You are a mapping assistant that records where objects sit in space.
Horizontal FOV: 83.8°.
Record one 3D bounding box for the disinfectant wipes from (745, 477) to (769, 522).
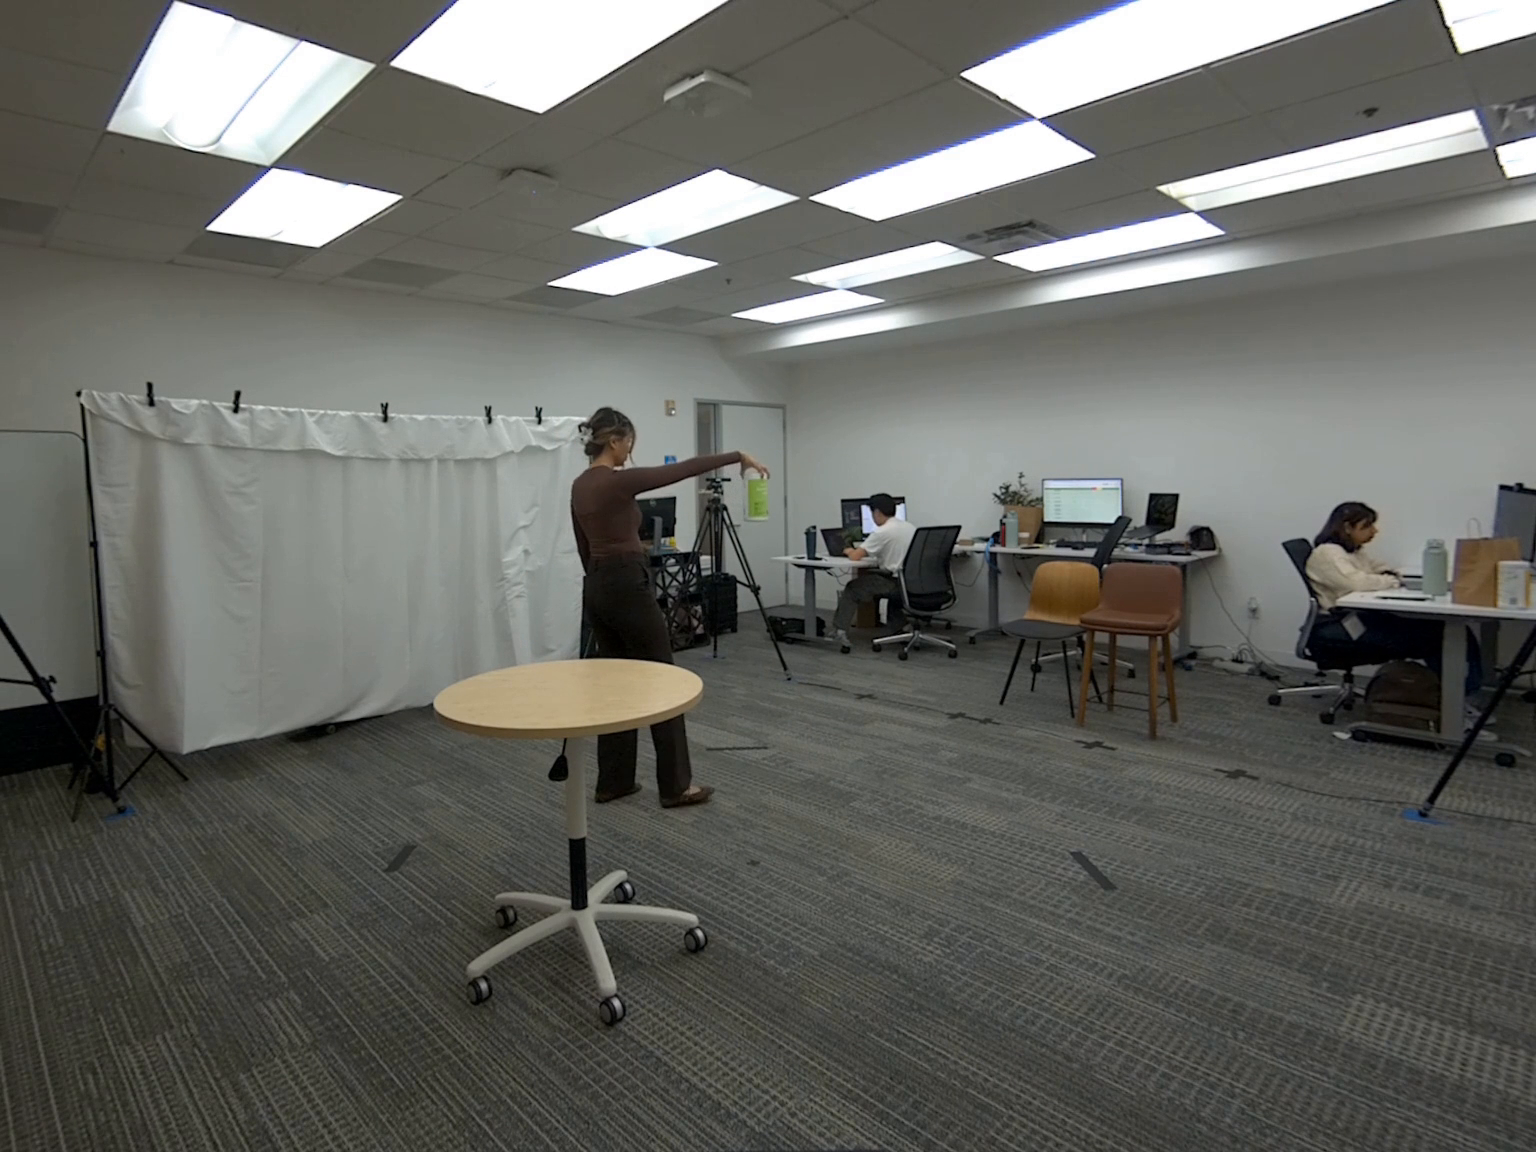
[{"bbox_3d":[-0.062,-0.353,3.828,0.118,0.216,0.118,1,6,-2],"label":"disinfectant wipes"}]
